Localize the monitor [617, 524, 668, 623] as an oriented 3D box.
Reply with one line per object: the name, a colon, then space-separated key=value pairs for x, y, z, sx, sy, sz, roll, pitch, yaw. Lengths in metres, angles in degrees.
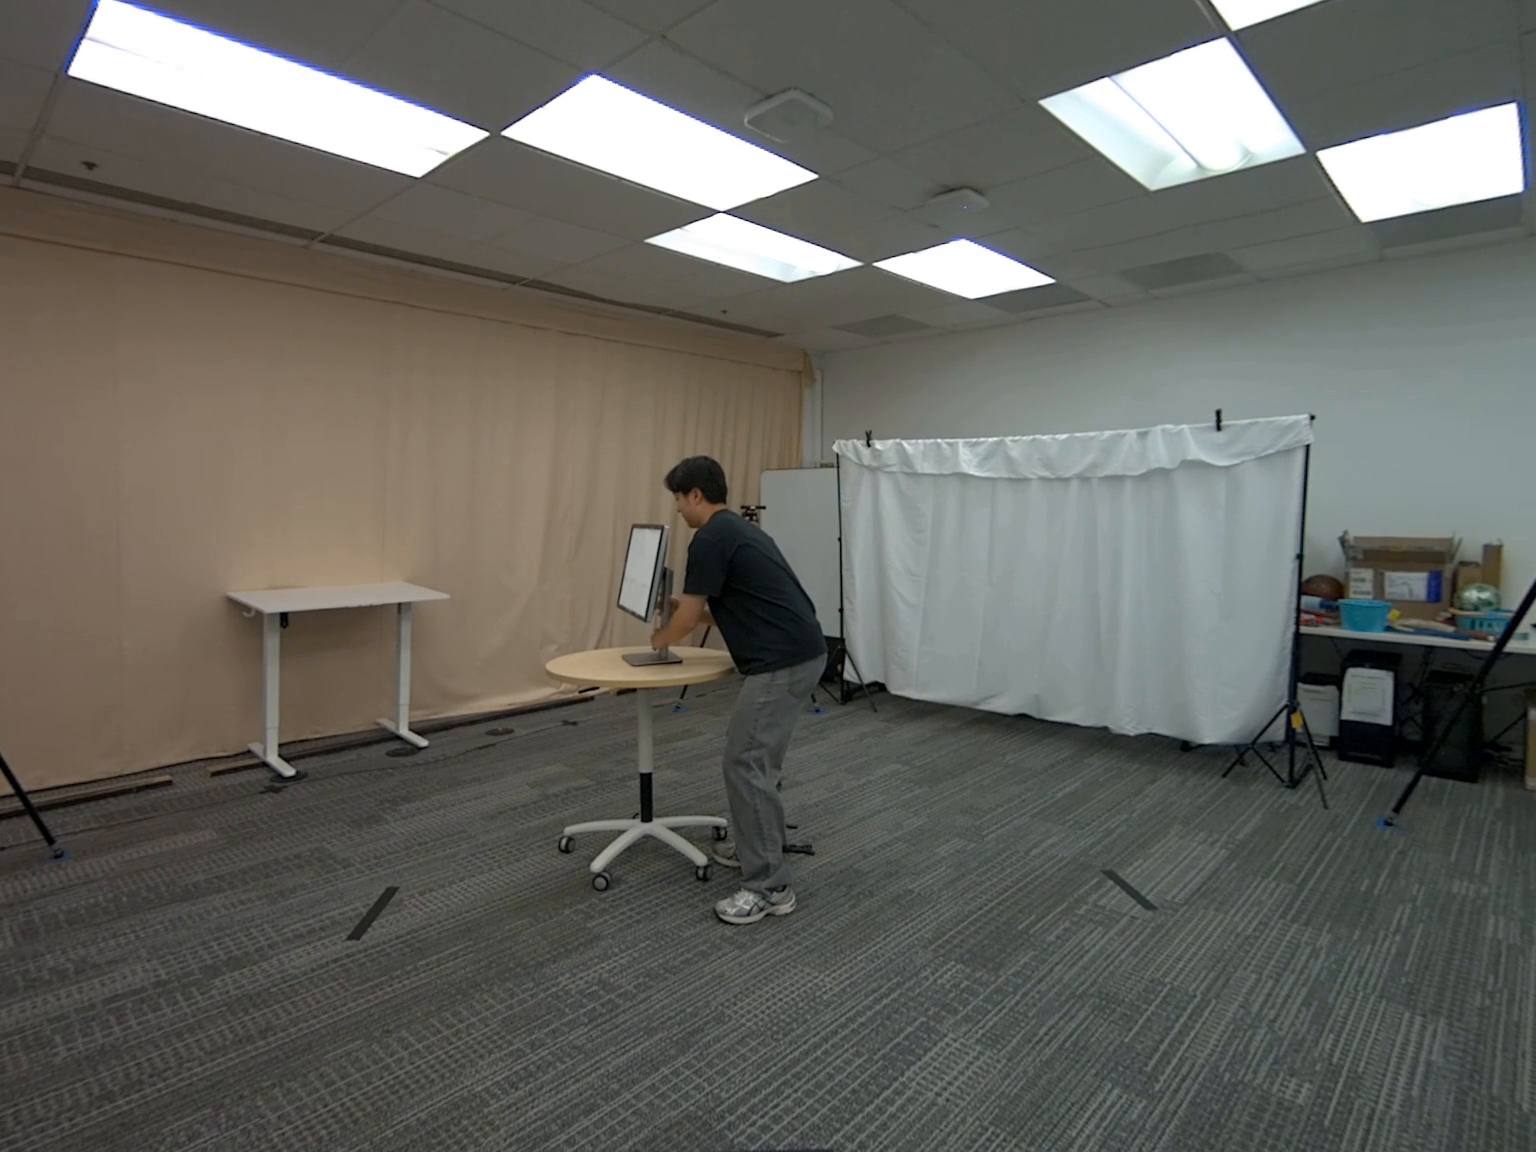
monitor: x=-0.472 y=0.077 z=3.357 sx=0.219 sy=0.565 sz=0.572 roll=-4 pitch=4 yaw=-17
